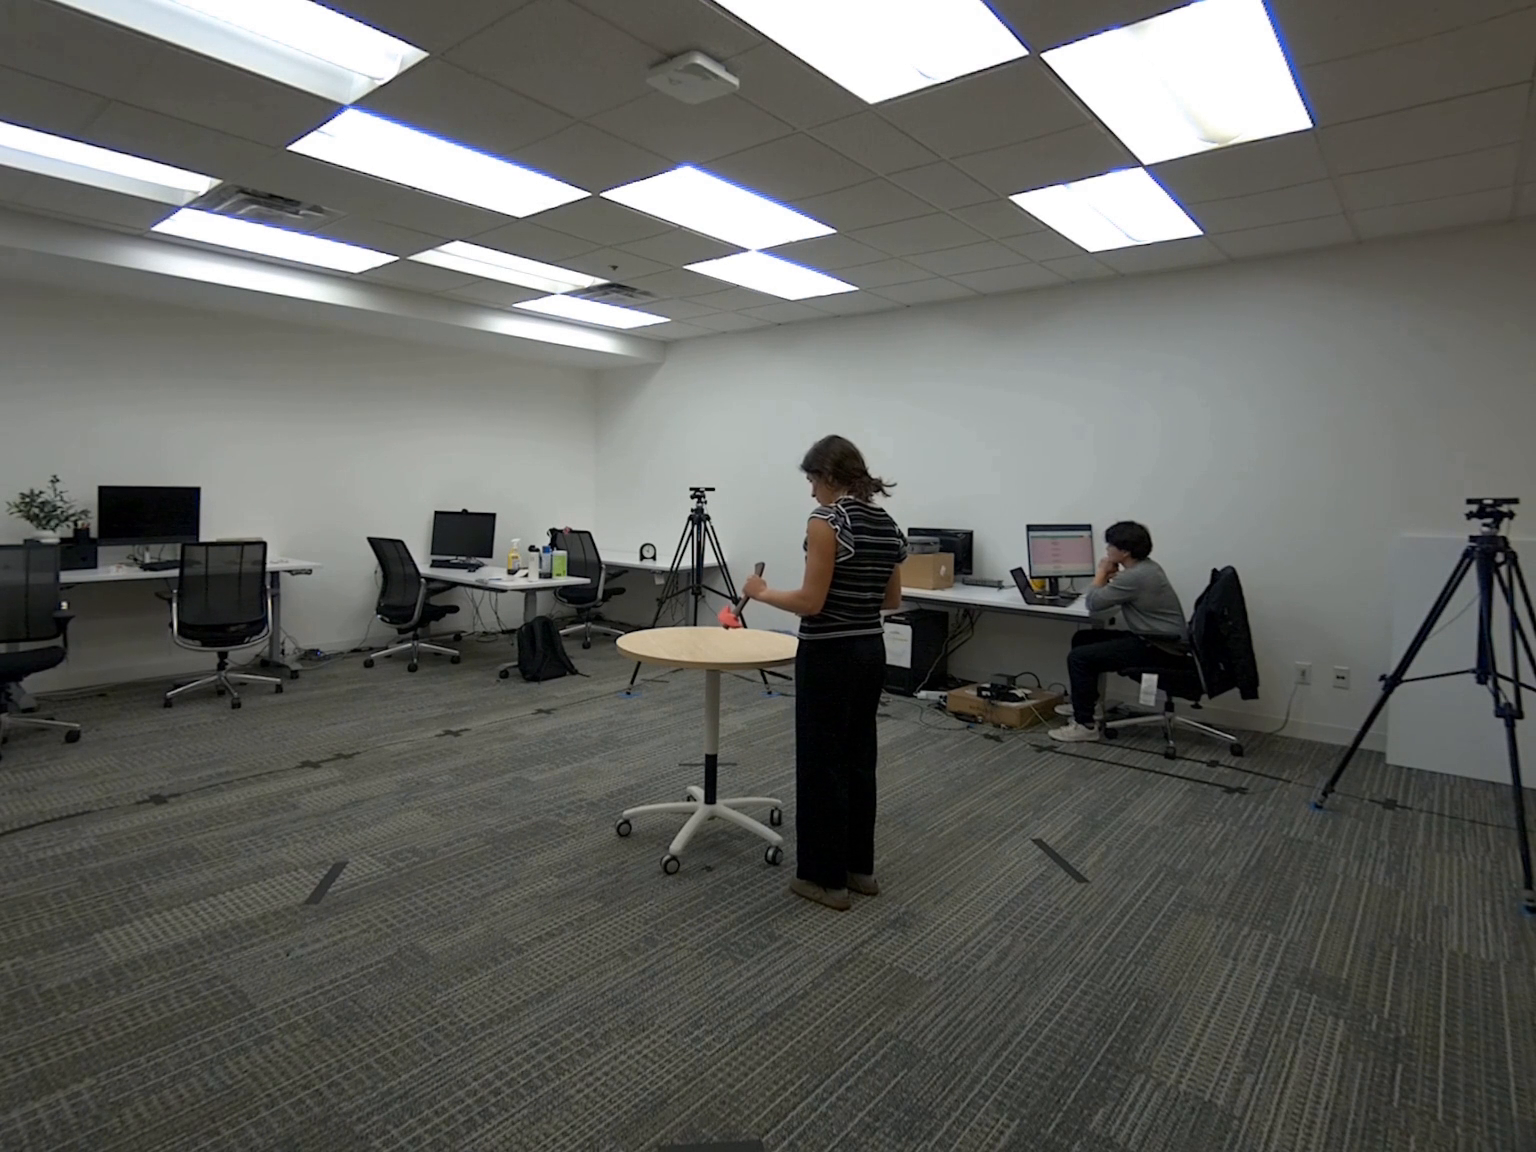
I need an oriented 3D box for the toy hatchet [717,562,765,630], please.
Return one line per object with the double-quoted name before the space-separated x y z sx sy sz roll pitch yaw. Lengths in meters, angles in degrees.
"toy hatchet" -0.107 0.067 2.978 0.135 0.273 0.028 -5 -39 41
